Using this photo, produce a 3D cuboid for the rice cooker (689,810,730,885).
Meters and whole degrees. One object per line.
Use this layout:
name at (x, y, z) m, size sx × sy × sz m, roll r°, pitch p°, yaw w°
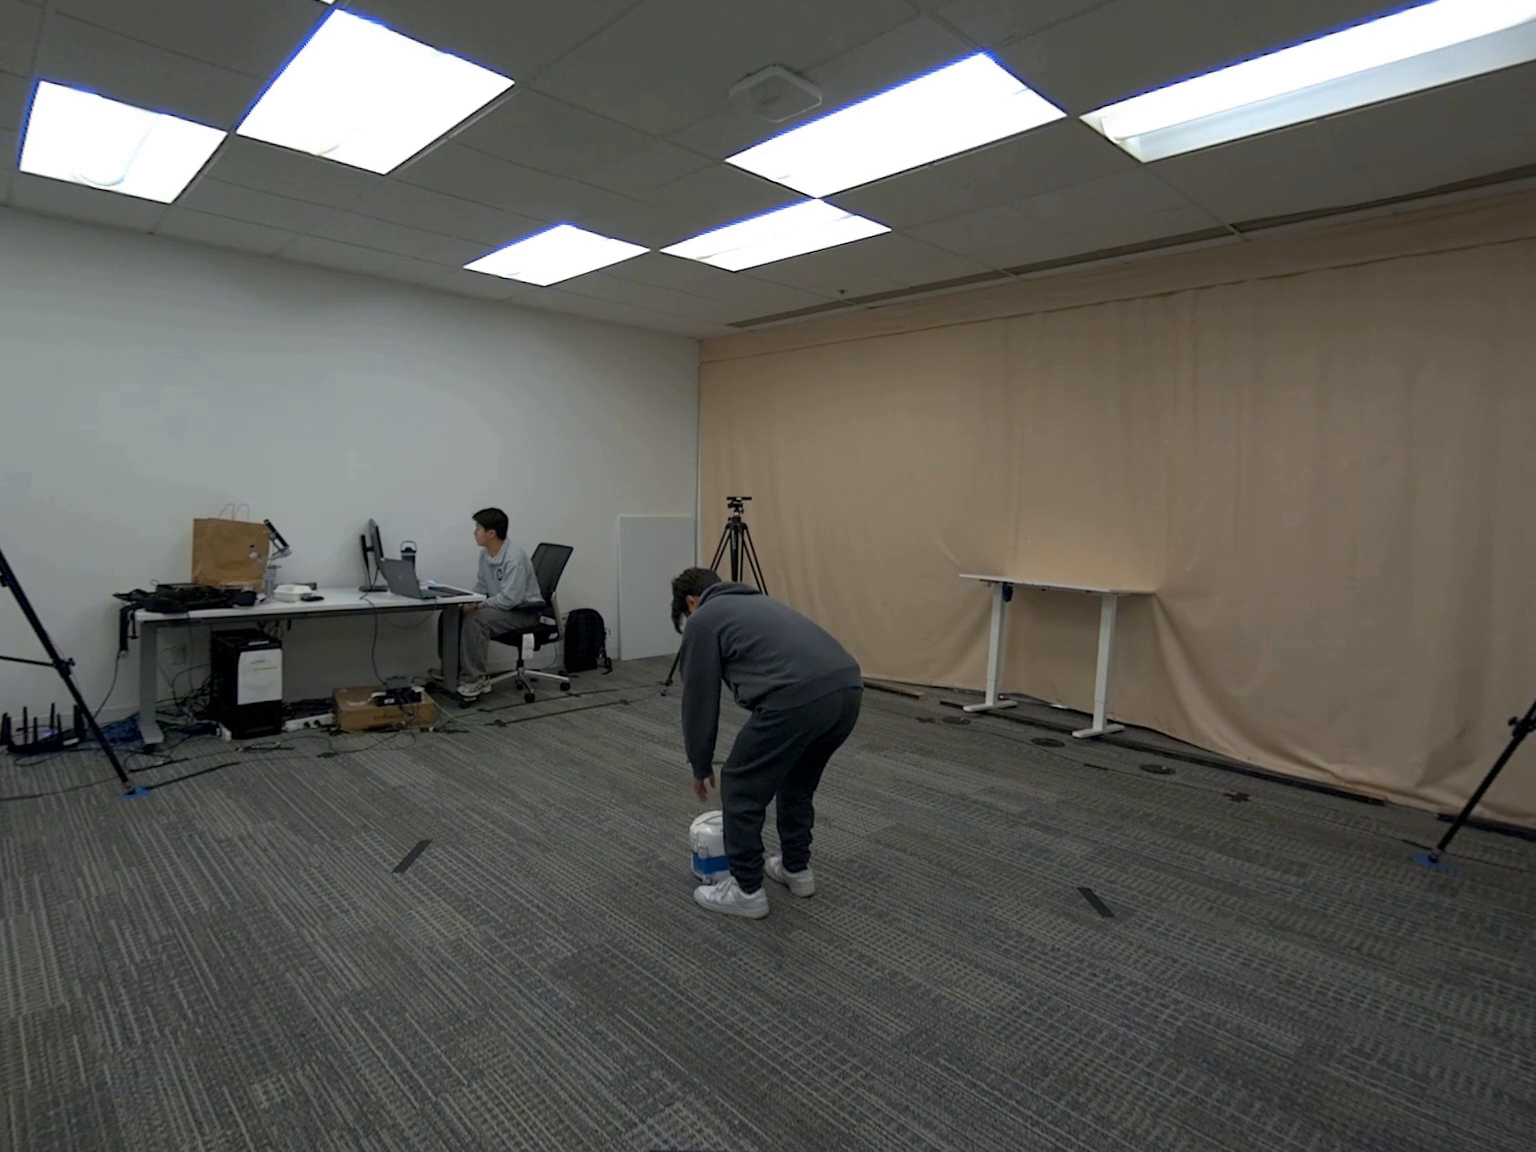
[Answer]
rice cooker at (-0.190, 0.986, 3.110) m, size 0.217 × 0.232 × 0.222 m, roll 0°, pitch 6°, yaw -22°
